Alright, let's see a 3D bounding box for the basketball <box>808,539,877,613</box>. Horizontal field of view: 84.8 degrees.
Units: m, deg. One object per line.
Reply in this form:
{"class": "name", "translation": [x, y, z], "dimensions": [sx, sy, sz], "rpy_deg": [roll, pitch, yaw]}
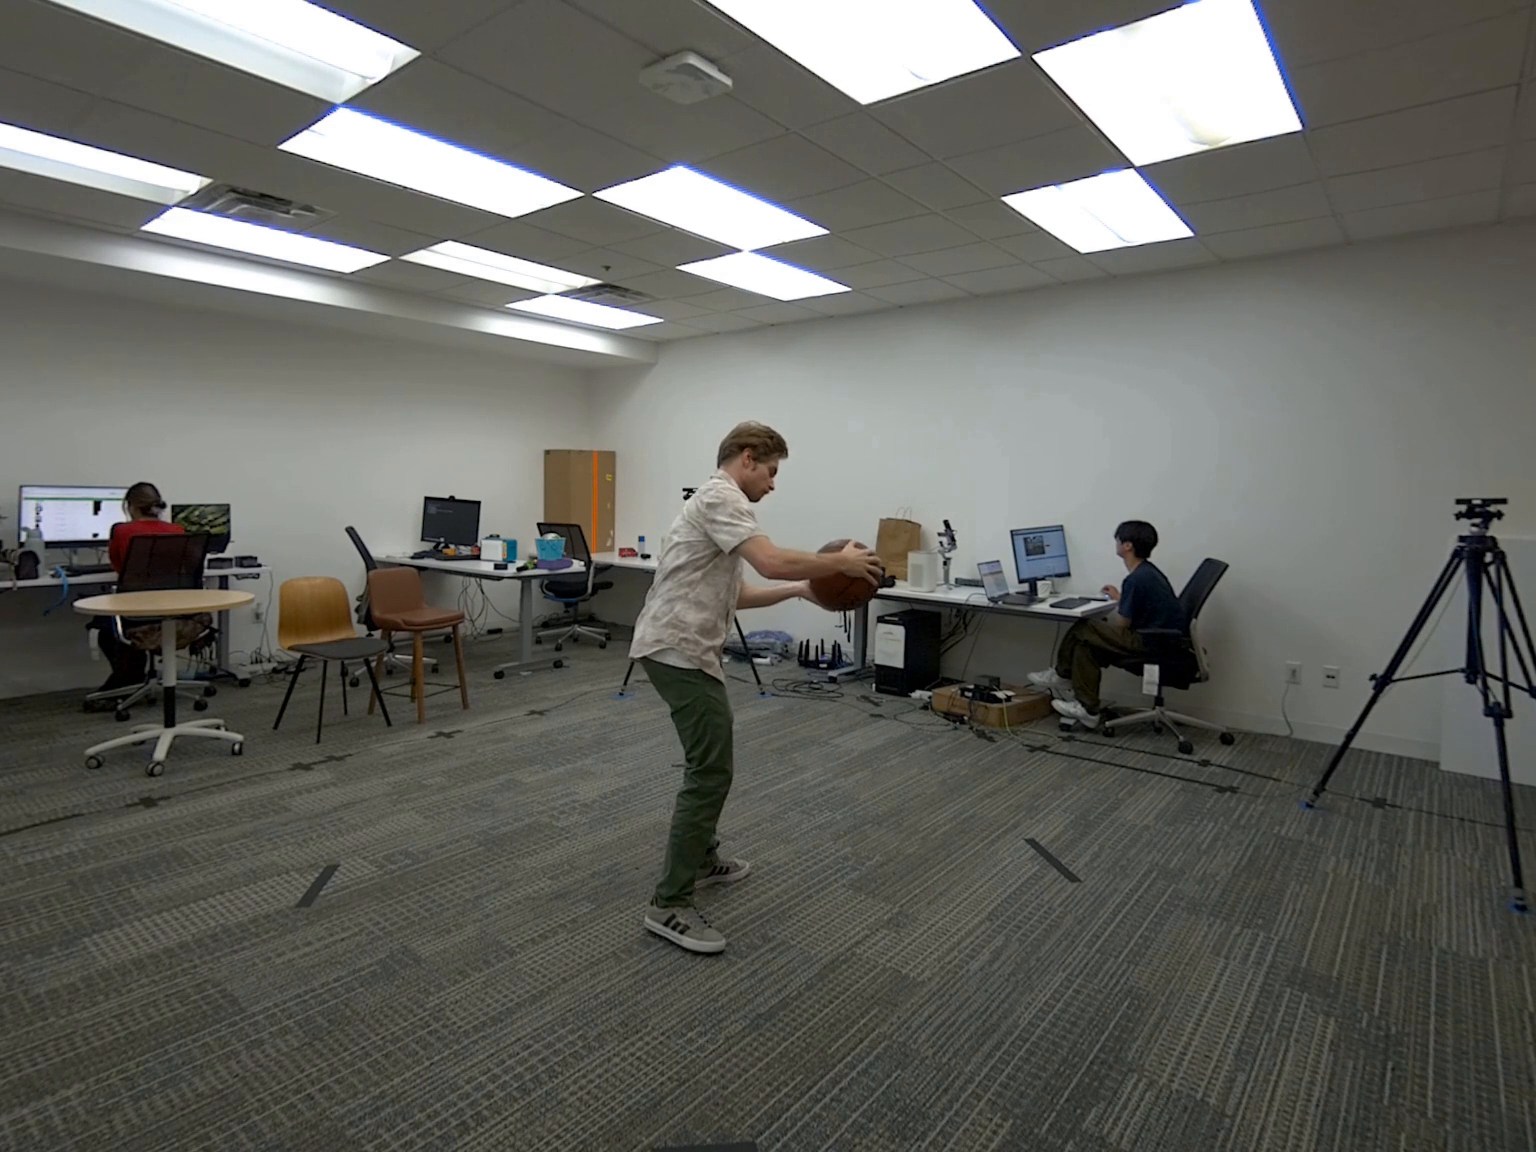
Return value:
{"class": "basketball", "translation": [0.238, 0.003, 2.821], "dimensions": [0.235, 0.235, 0.237], "rpy_deg": [1, 4, -2]}
